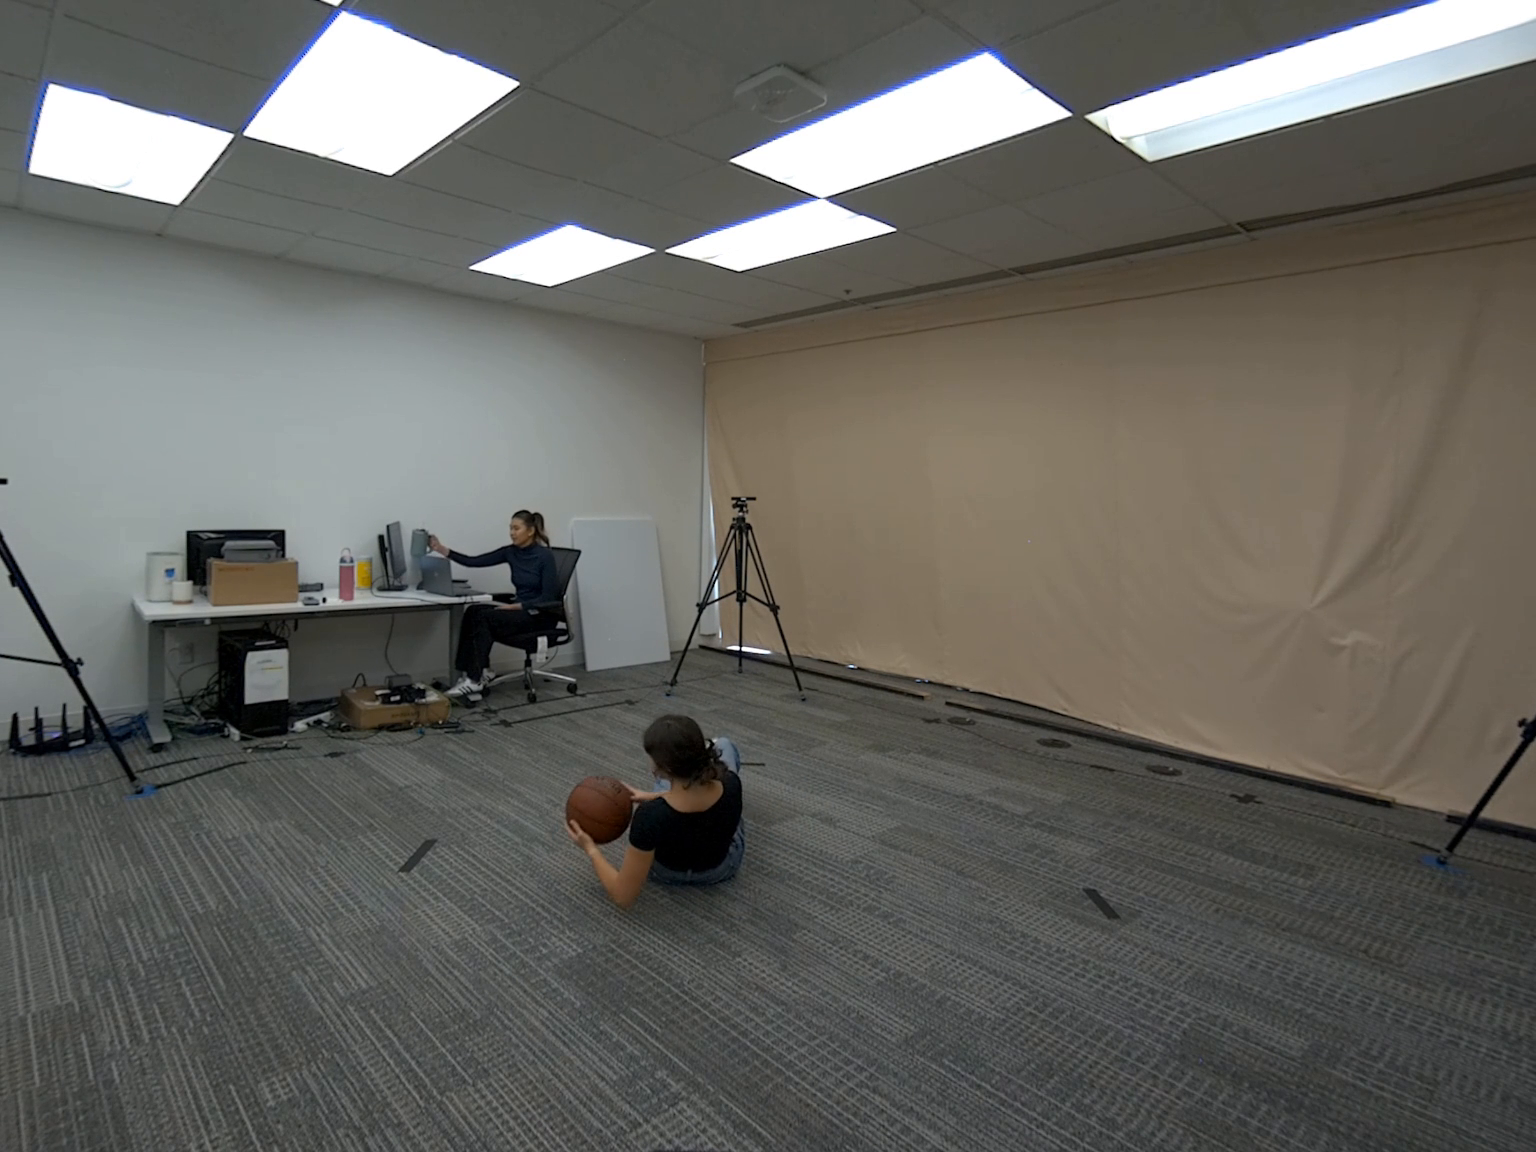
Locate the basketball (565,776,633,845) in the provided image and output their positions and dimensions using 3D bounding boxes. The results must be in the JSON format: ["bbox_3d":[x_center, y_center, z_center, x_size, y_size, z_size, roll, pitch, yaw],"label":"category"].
[{"bbox_3d":[-0.595,0.834,3.016,0.236,0.235,0.237,1,4,-1],"label":"basketball"}]
